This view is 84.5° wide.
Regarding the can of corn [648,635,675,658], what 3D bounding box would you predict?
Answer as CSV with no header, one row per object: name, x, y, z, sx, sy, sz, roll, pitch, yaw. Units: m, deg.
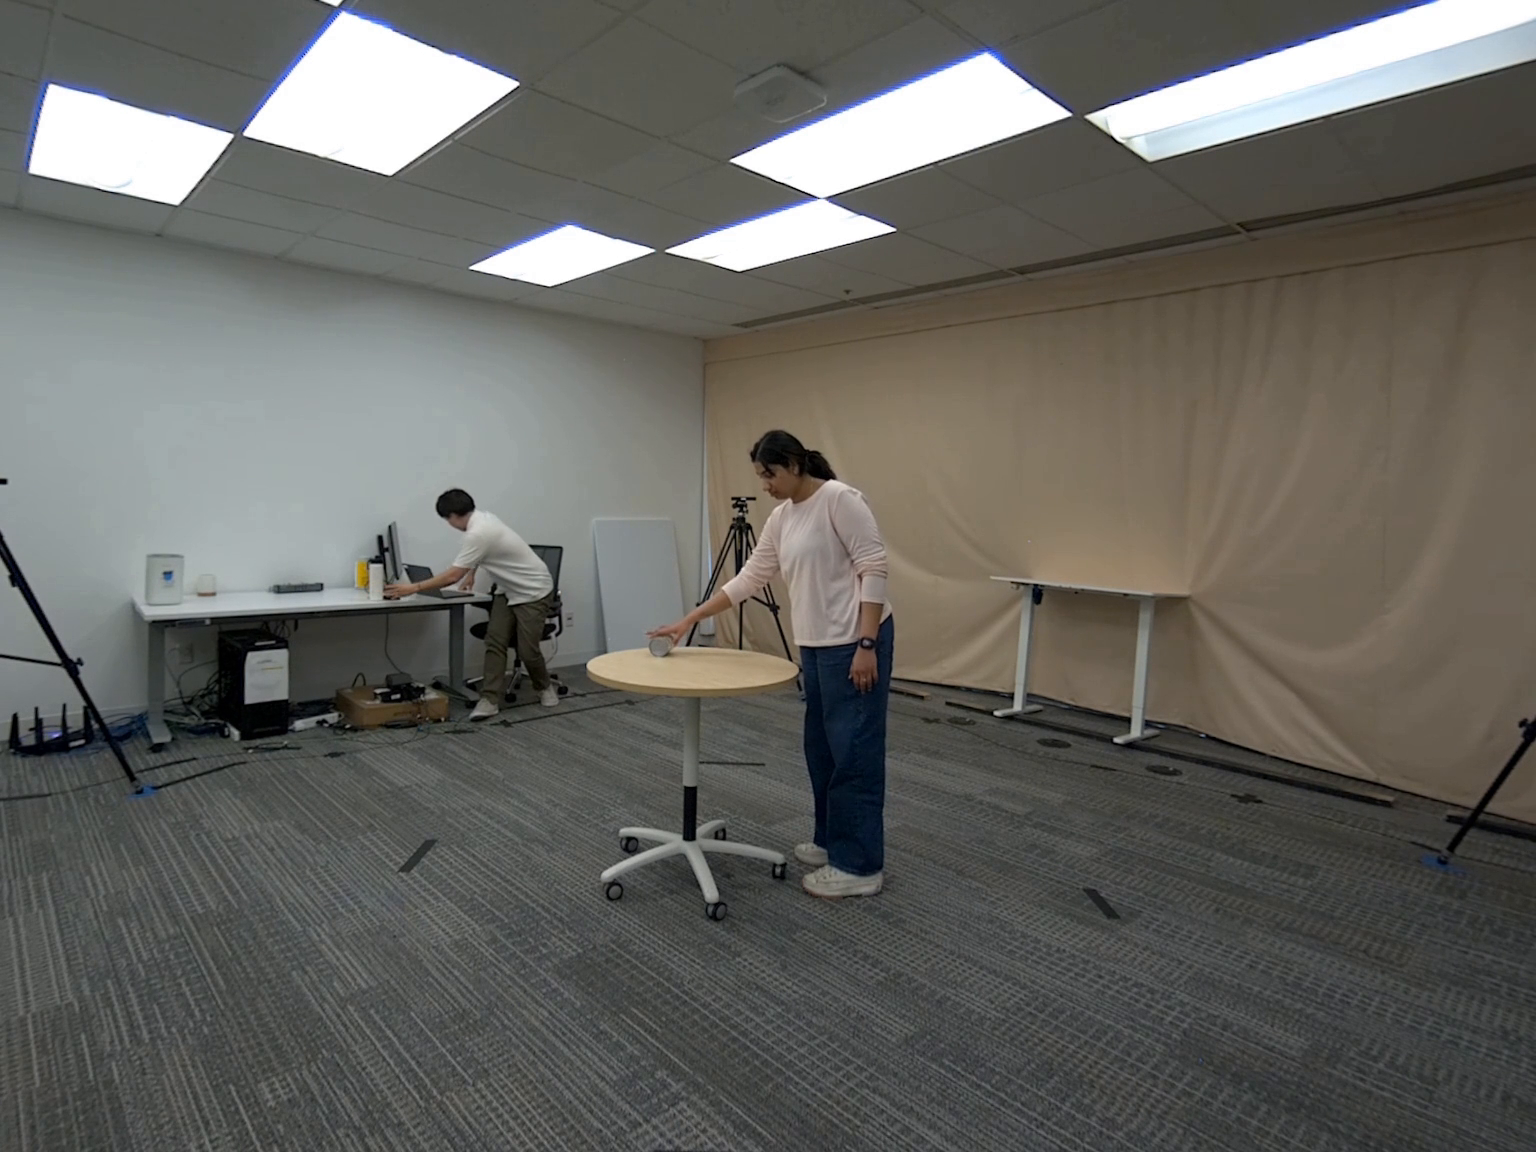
can of corn,-0.410,0.264,3.254,0.075,0.074,0.110,2,4,10
